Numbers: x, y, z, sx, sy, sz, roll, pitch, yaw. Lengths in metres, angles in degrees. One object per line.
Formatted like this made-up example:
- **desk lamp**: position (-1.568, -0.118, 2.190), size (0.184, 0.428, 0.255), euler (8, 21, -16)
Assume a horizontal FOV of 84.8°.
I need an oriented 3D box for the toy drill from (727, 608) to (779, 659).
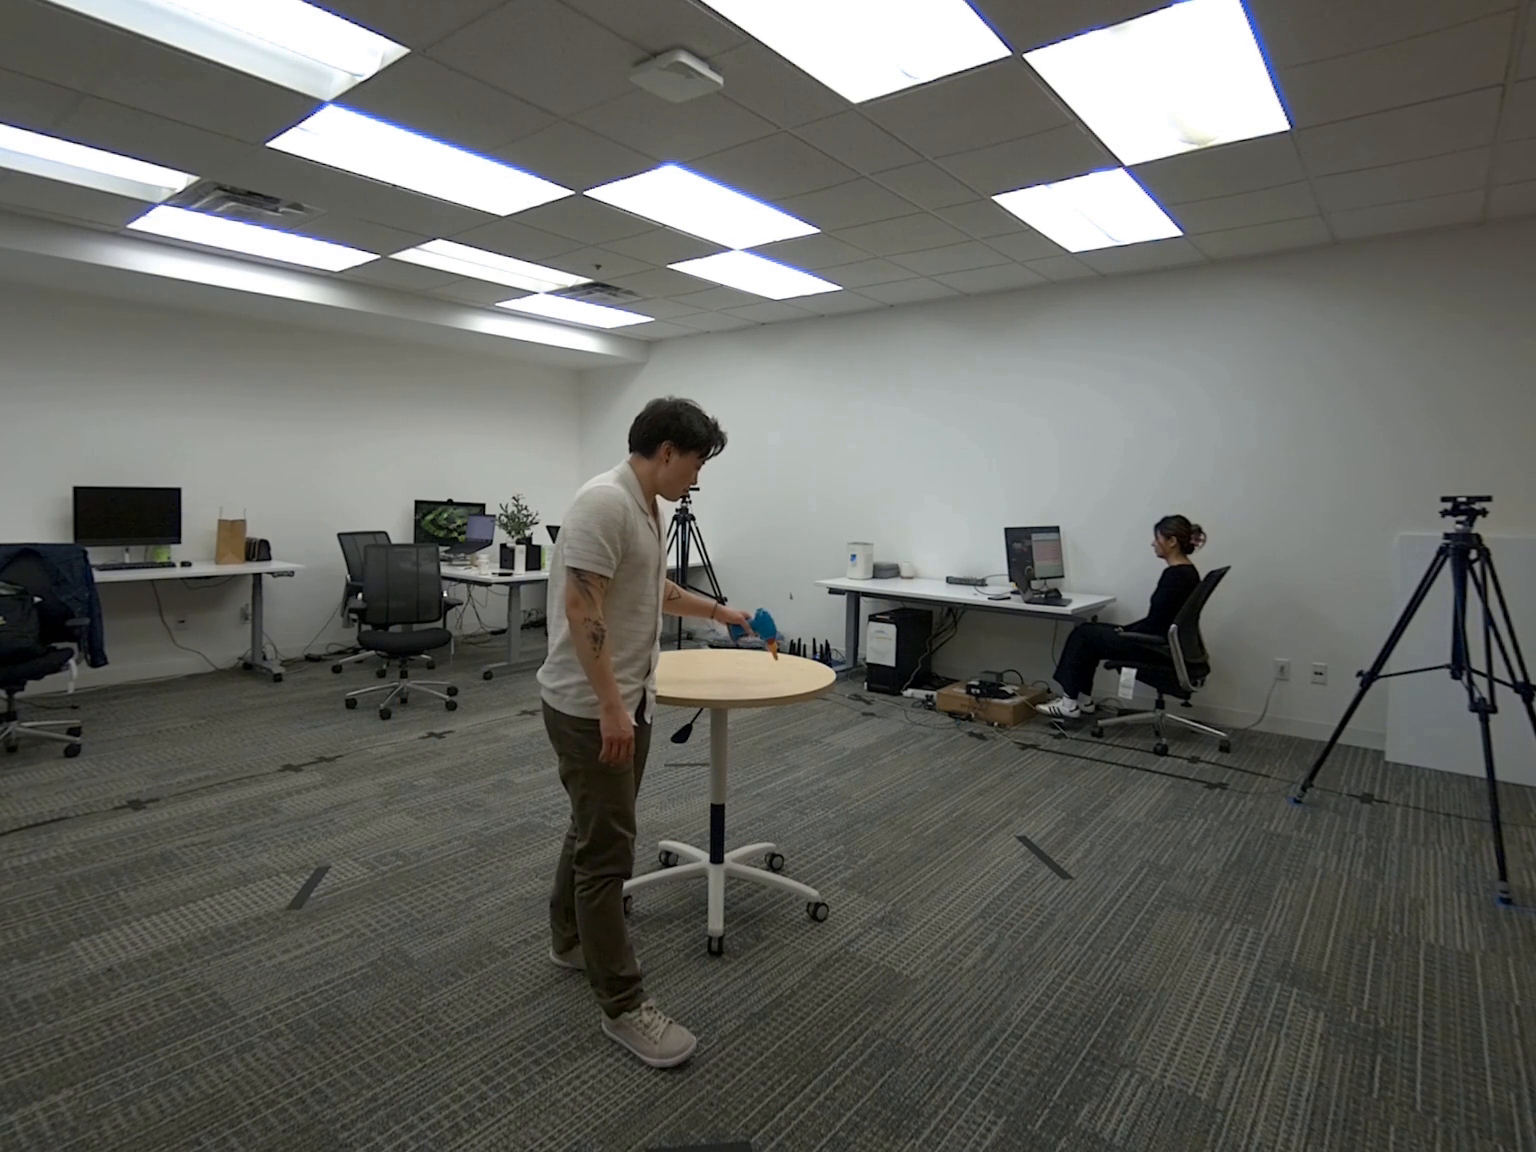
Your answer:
- **toy drill**: position (-0.040, 0.190, 2.636), size (0.147, 0.170, 0.060), euler (-19, -3, 7)
